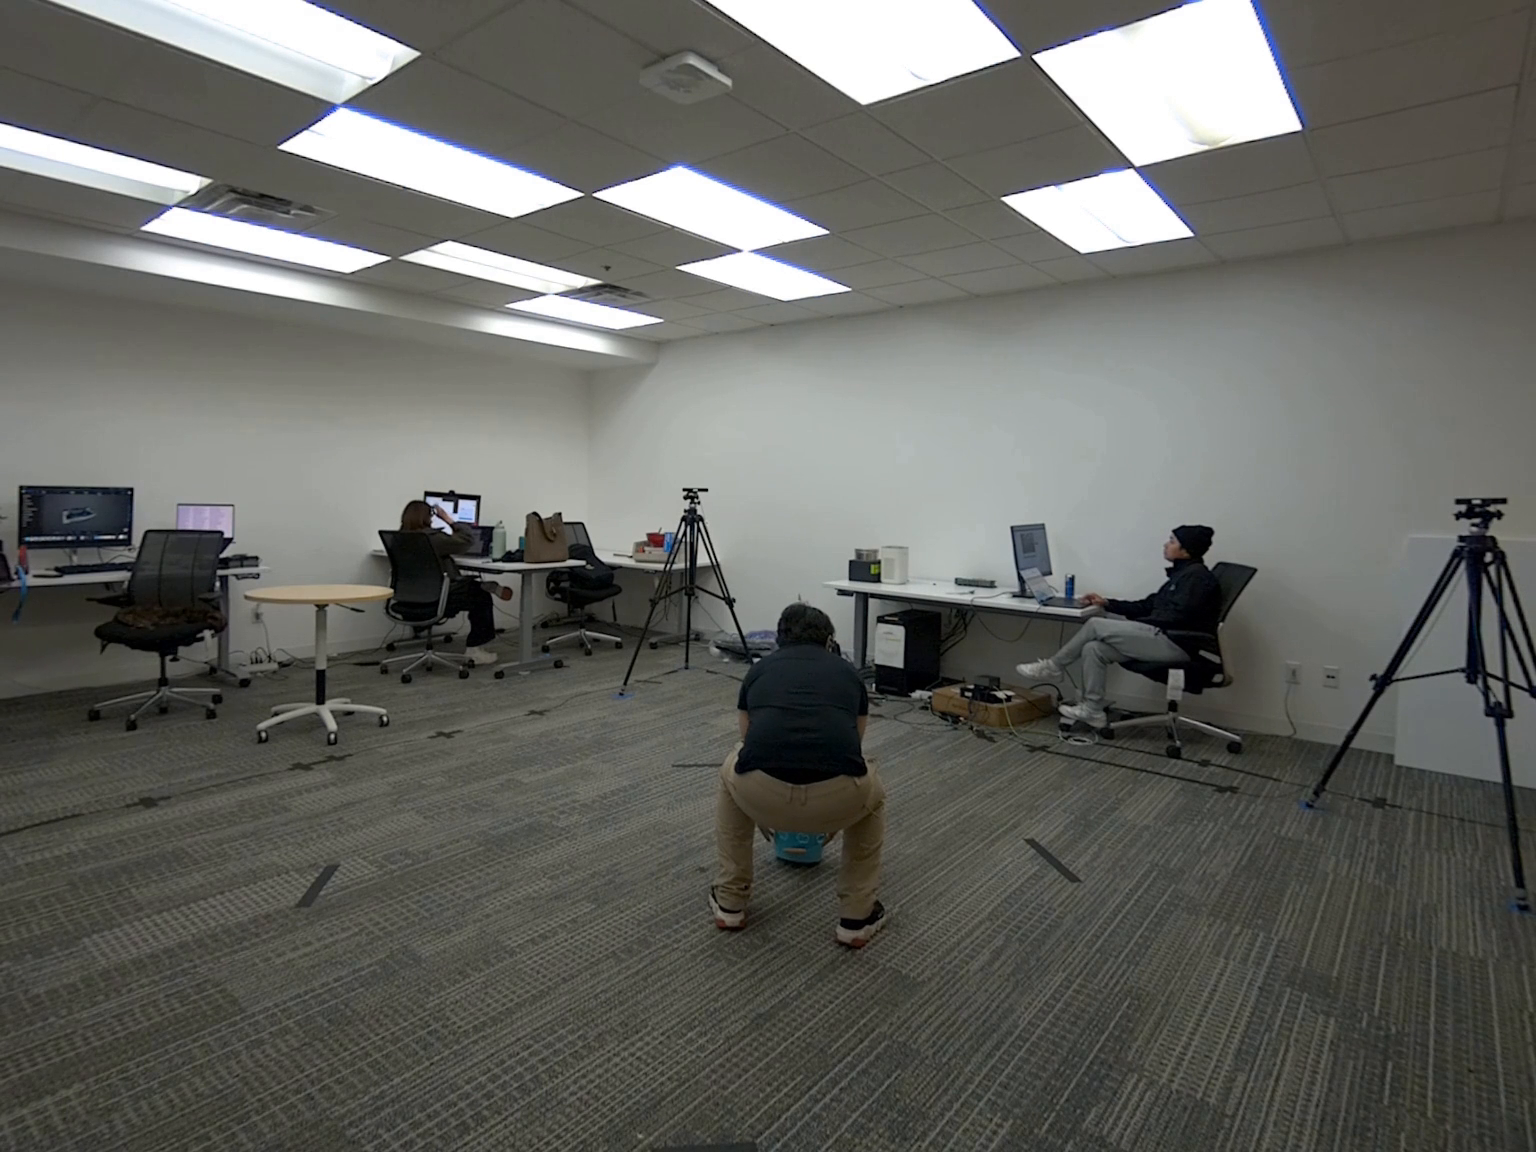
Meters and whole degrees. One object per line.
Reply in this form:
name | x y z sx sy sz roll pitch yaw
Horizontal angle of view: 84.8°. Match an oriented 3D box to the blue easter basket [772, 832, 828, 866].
blue easter basket | 0.116 0.973 3.222 0.243 0.156 0.243 7 -3 -1
